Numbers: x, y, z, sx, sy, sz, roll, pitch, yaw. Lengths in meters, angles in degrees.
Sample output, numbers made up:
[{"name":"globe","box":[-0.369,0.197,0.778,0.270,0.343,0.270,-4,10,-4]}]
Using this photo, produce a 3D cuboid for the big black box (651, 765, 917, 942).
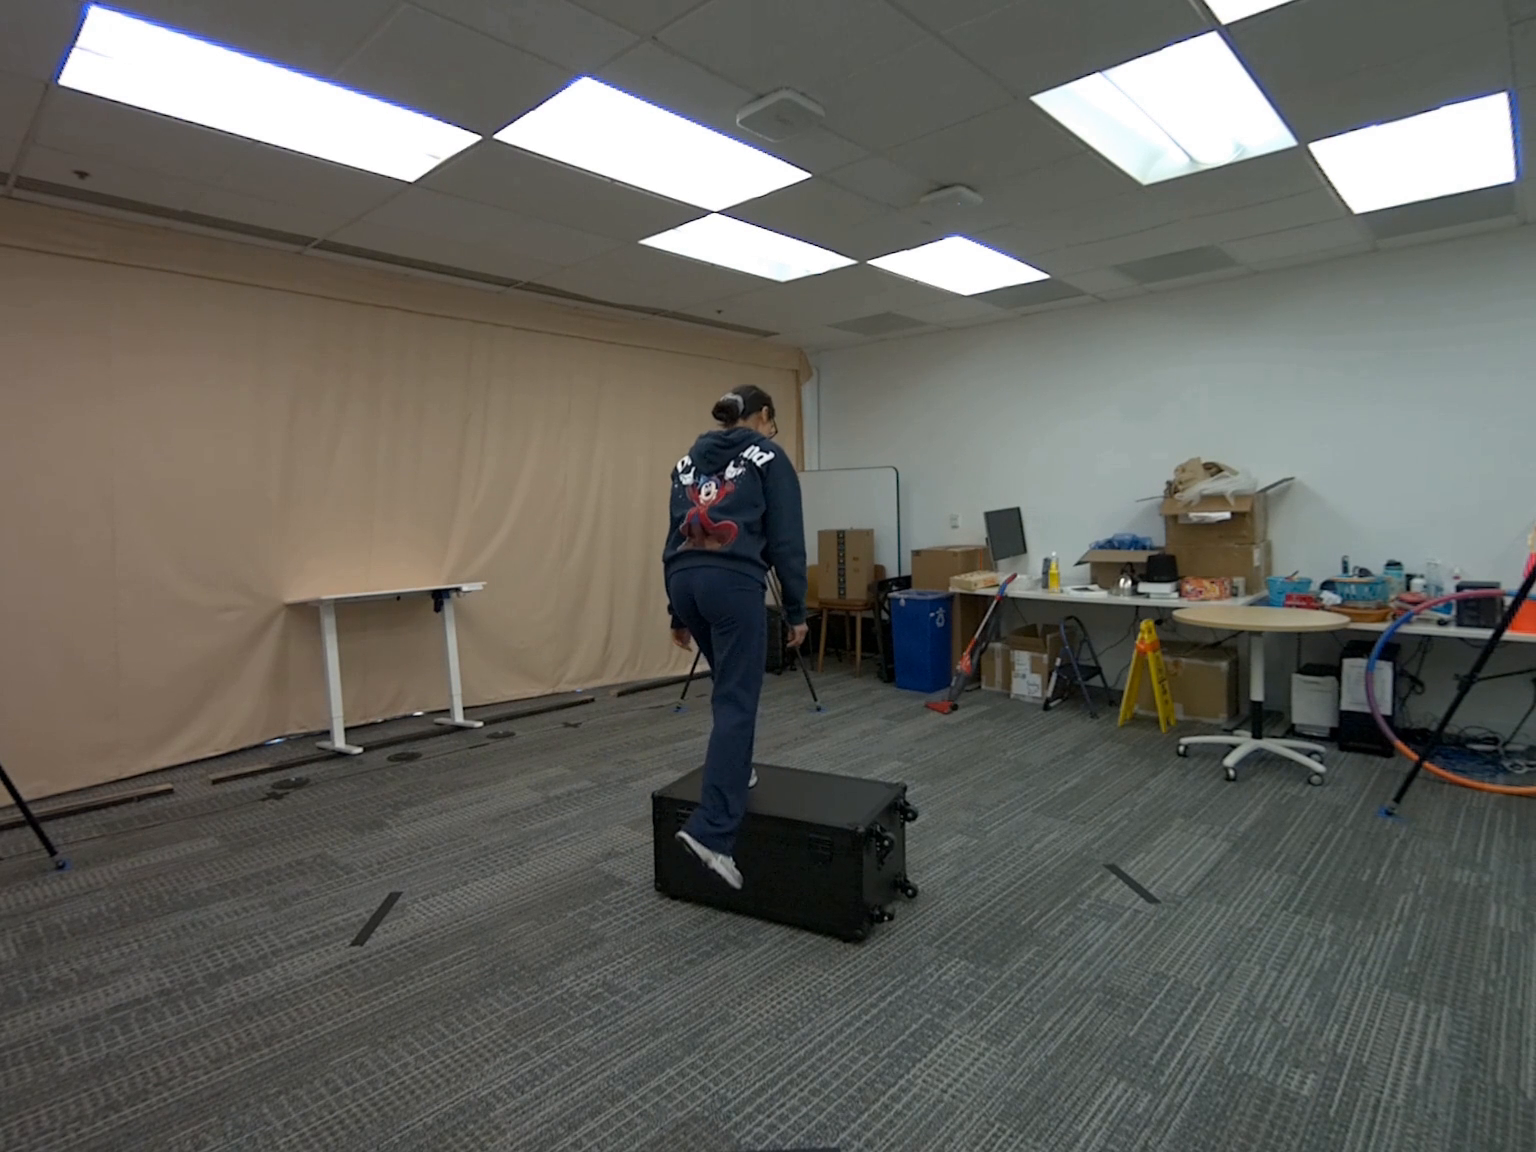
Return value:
[{"name":"big black box","box":[0.078,0.950,3.001,0.885,0.395,0.508,1,4,27]}]
